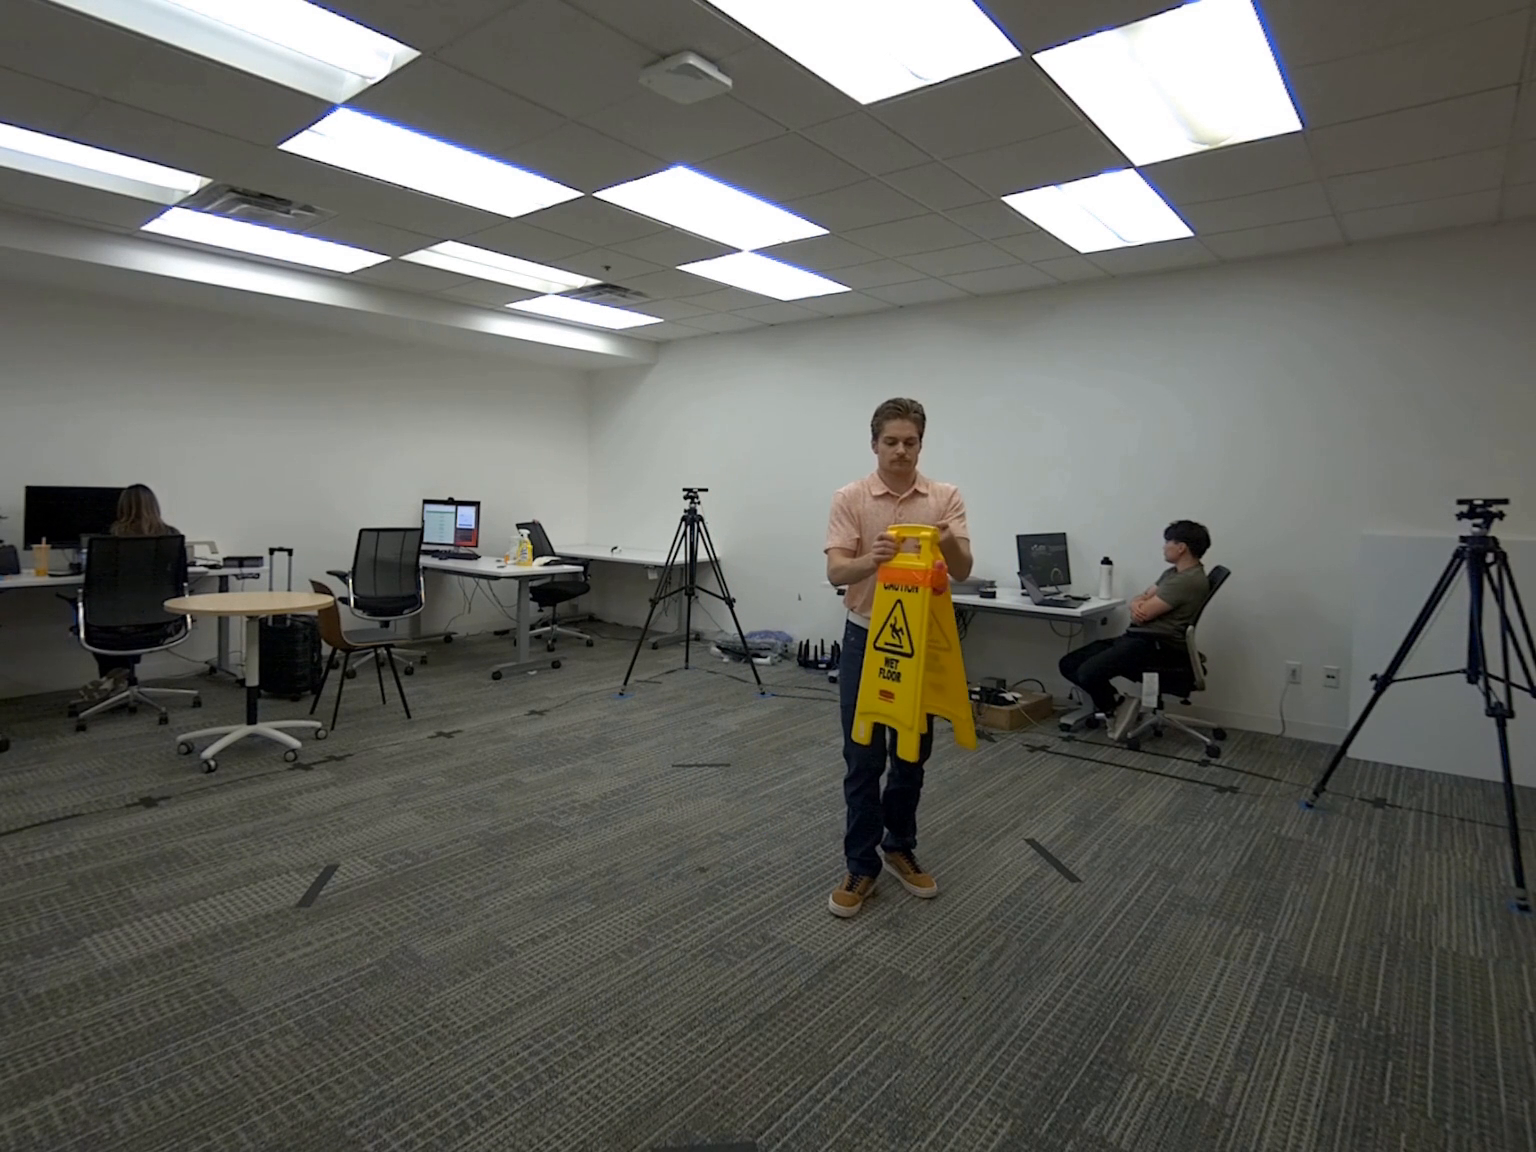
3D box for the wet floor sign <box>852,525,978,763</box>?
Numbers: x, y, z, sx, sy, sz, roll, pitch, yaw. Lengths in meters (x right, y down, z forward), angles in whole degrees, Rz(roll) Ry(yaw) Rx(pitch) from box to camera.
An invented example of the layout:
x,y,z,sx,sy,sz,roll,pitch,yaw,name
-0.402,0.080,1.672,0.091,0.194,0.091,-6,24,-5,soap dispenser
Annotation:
x,y,z,sx,sy,sz,roll,pitch,yaw,name
0.426,0.171,2.519,0.282,0.645,0.291,-2,3,-32,wet floor sign
